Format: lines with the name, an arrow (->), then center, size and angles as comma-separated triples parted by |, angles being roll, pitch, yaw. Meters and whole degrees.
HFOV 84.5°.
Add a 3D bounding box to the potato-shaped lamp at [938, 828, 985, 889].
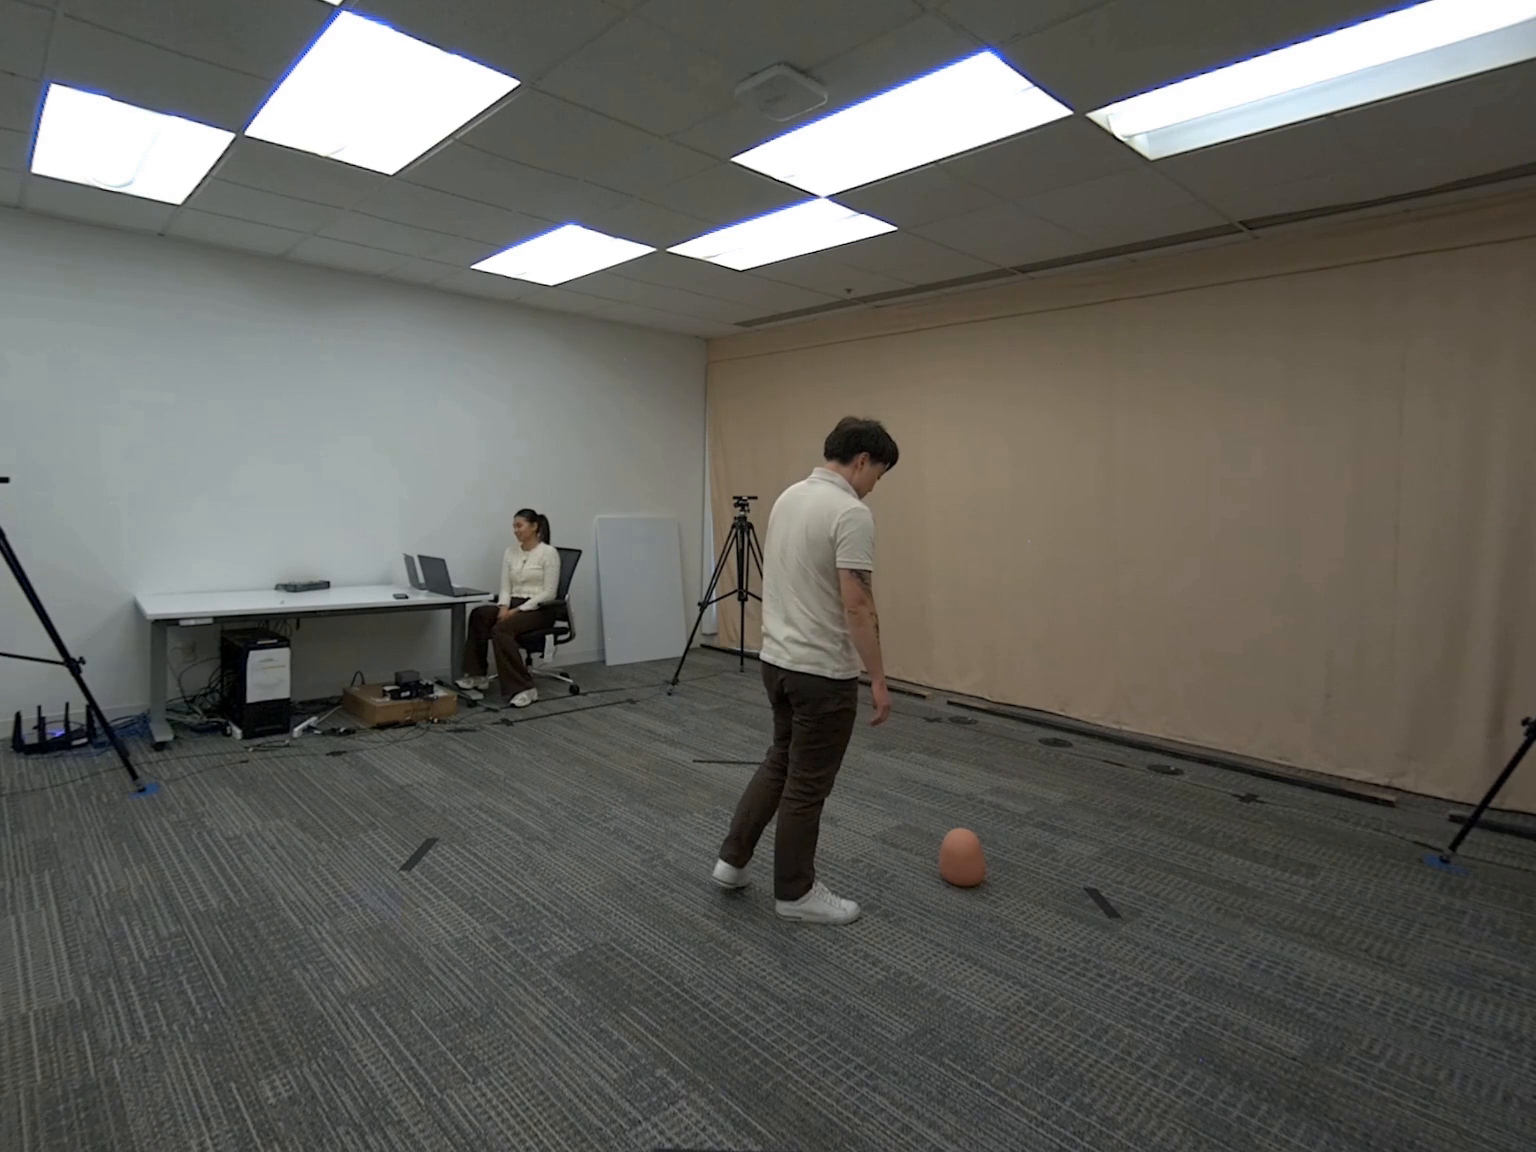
potato-shaped lamp -> 0.706, 1.028, 3.094 | 0.169, 0.198, 0.167 | 7, 3, 36
